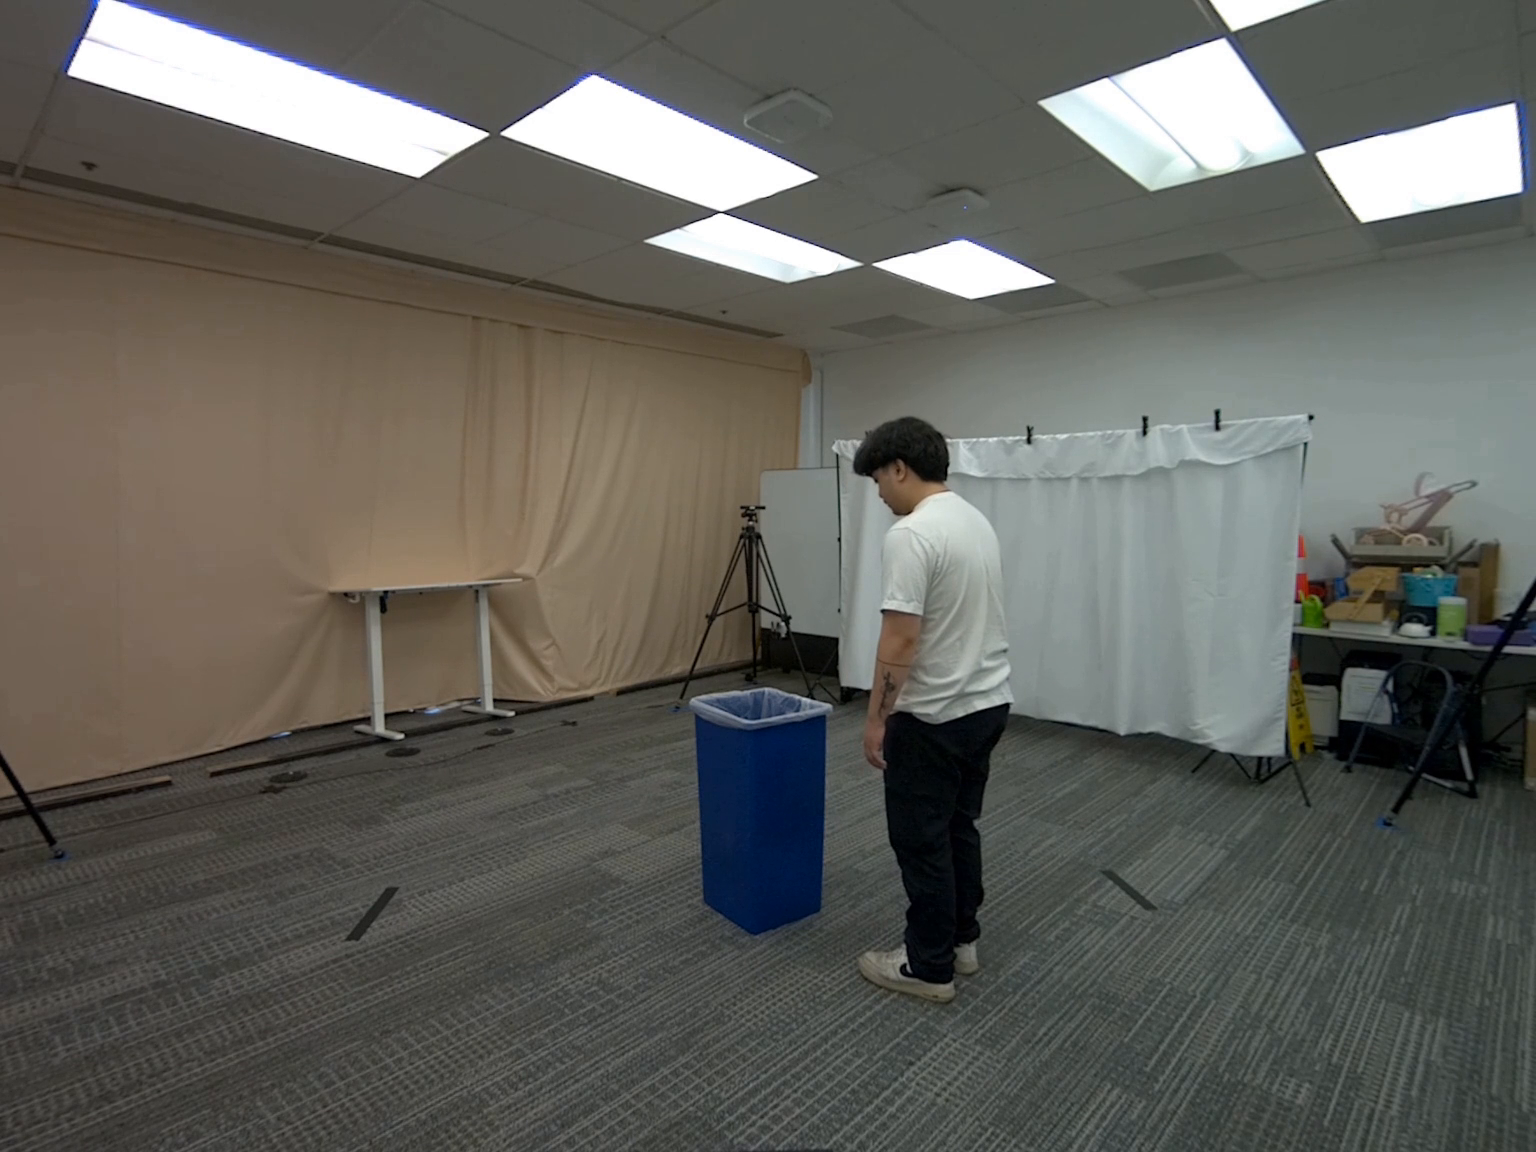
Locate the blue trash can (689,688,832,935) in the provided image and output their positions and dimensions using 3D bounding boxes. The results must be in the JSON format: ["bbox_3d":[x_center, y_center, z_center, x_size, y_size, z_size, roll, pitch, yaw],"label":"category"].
[{"bbox_3d":[-0.027,0.791,2.907,0.363,0.712,0.390,-2,4,-37],"label":"blue trash can"}]
